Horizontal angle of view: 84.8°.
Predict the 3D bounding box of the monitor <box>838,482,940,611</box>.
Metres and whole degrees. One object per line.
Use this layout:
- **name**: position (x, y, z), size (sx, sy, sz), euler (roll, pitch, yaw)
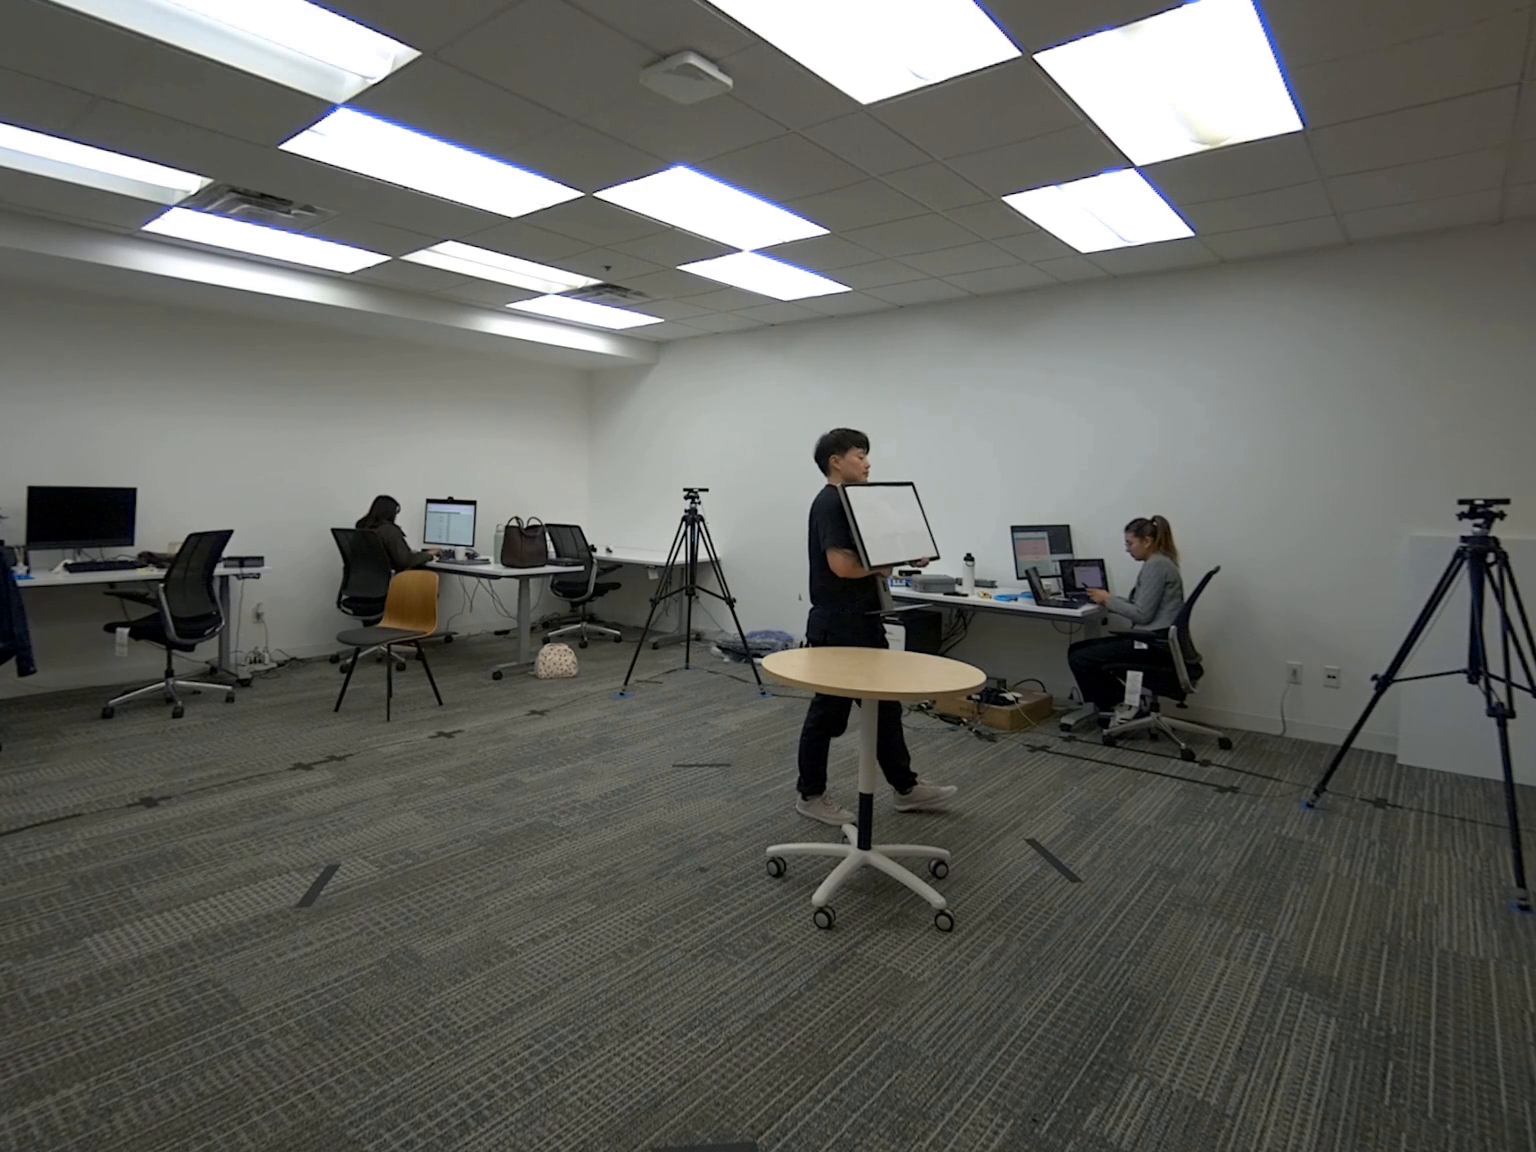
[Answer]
- **monitor**: position (0.498, -0.128, 3.534), size (0.192, 0.523, 0.524), euler (-9, -1, 40)
